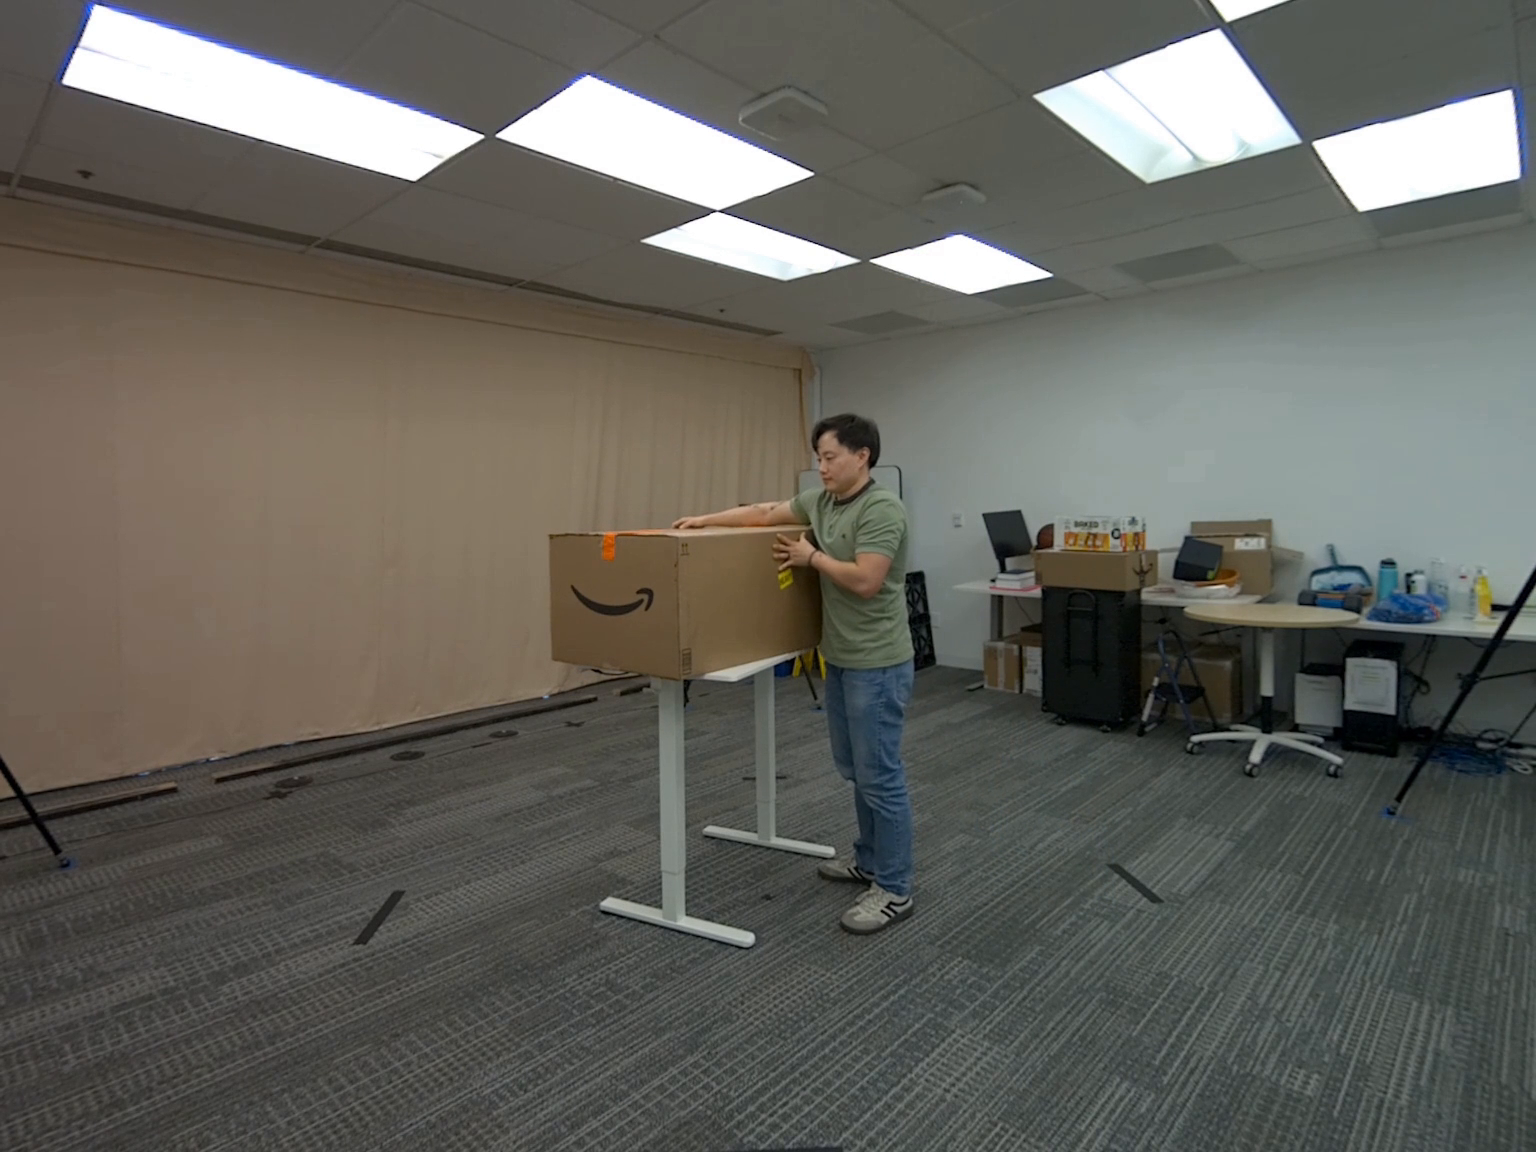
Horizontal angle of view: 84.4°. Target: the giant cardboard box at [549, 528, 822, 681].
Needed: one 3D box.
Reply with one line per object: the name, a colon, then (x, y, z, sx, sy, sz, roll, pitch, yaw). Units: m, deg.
giant cardboard box: (-0.194, 0.046, 3.010, 0.596, 0.425, 0.996, 3, 6, 37)
